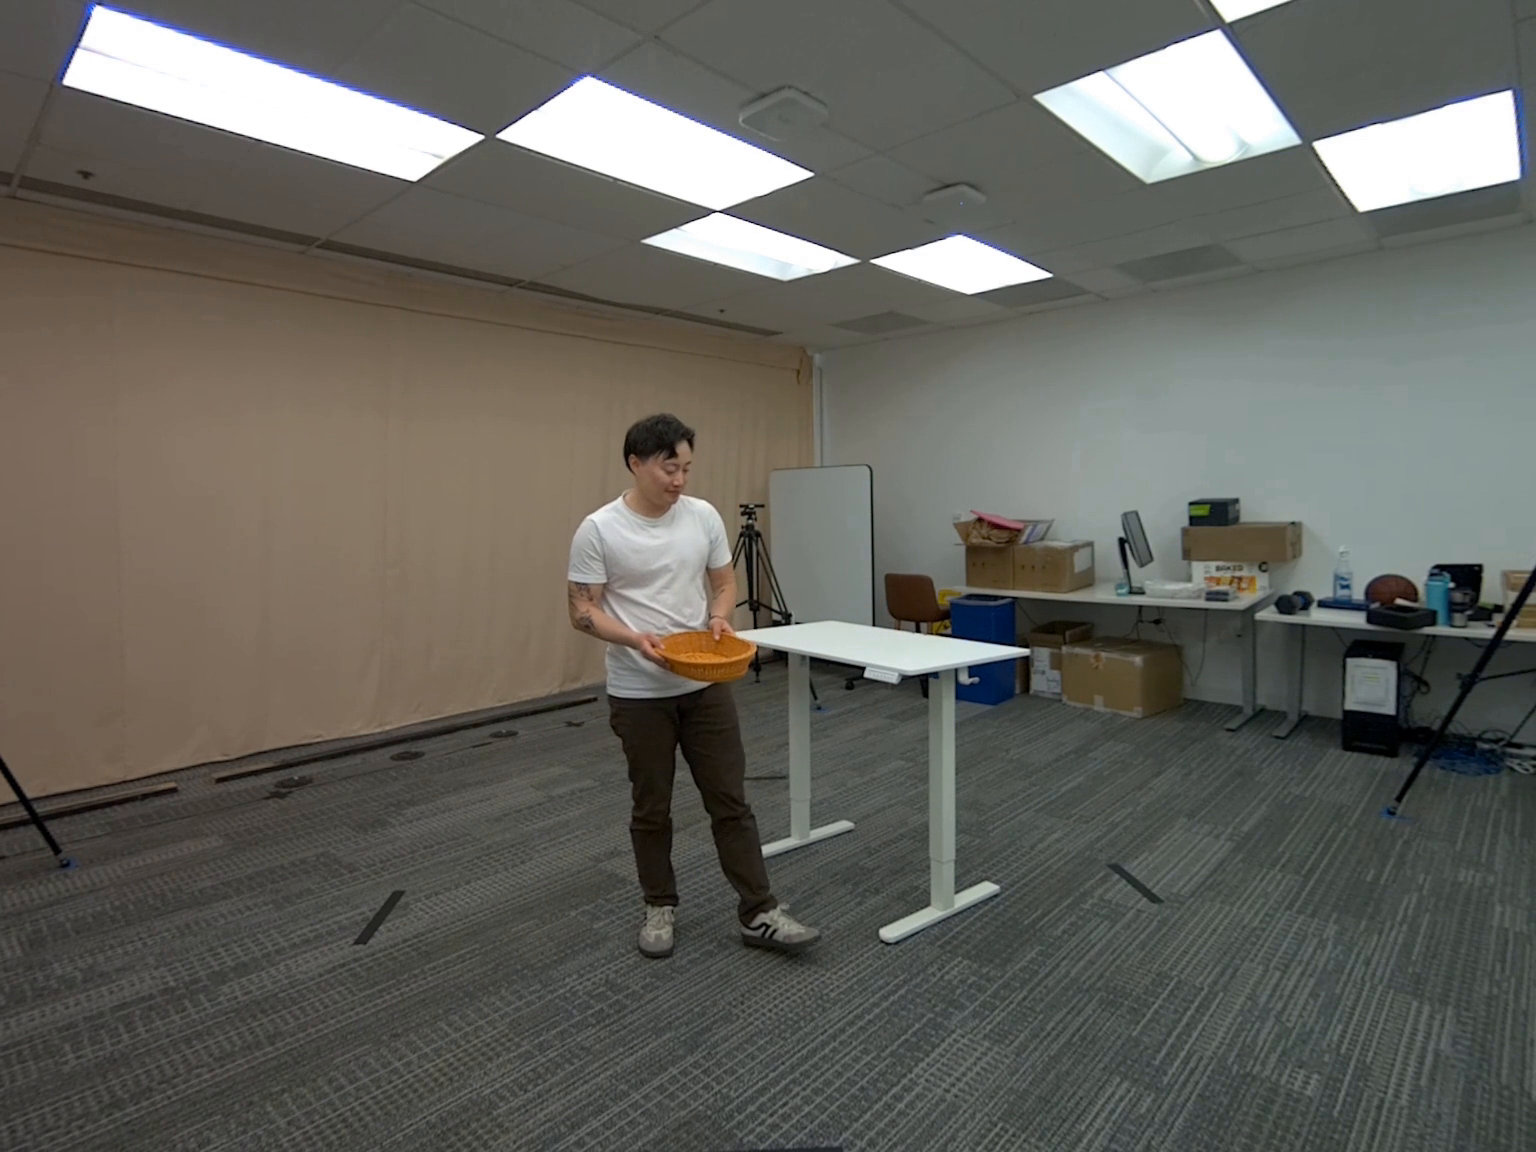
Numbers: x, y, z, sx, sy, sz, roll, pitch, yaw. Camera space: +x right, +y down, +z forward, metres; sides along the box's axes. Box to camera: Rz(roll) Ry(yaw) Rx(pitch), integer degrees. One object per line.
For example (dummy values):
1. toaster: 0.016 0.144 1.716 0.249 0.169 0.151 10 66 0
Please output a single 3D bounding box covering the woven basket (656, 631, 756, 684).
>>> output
1. woven basket: -0.182 0.228 2.368 0.250 0.073 0.356 -3 10 -11
